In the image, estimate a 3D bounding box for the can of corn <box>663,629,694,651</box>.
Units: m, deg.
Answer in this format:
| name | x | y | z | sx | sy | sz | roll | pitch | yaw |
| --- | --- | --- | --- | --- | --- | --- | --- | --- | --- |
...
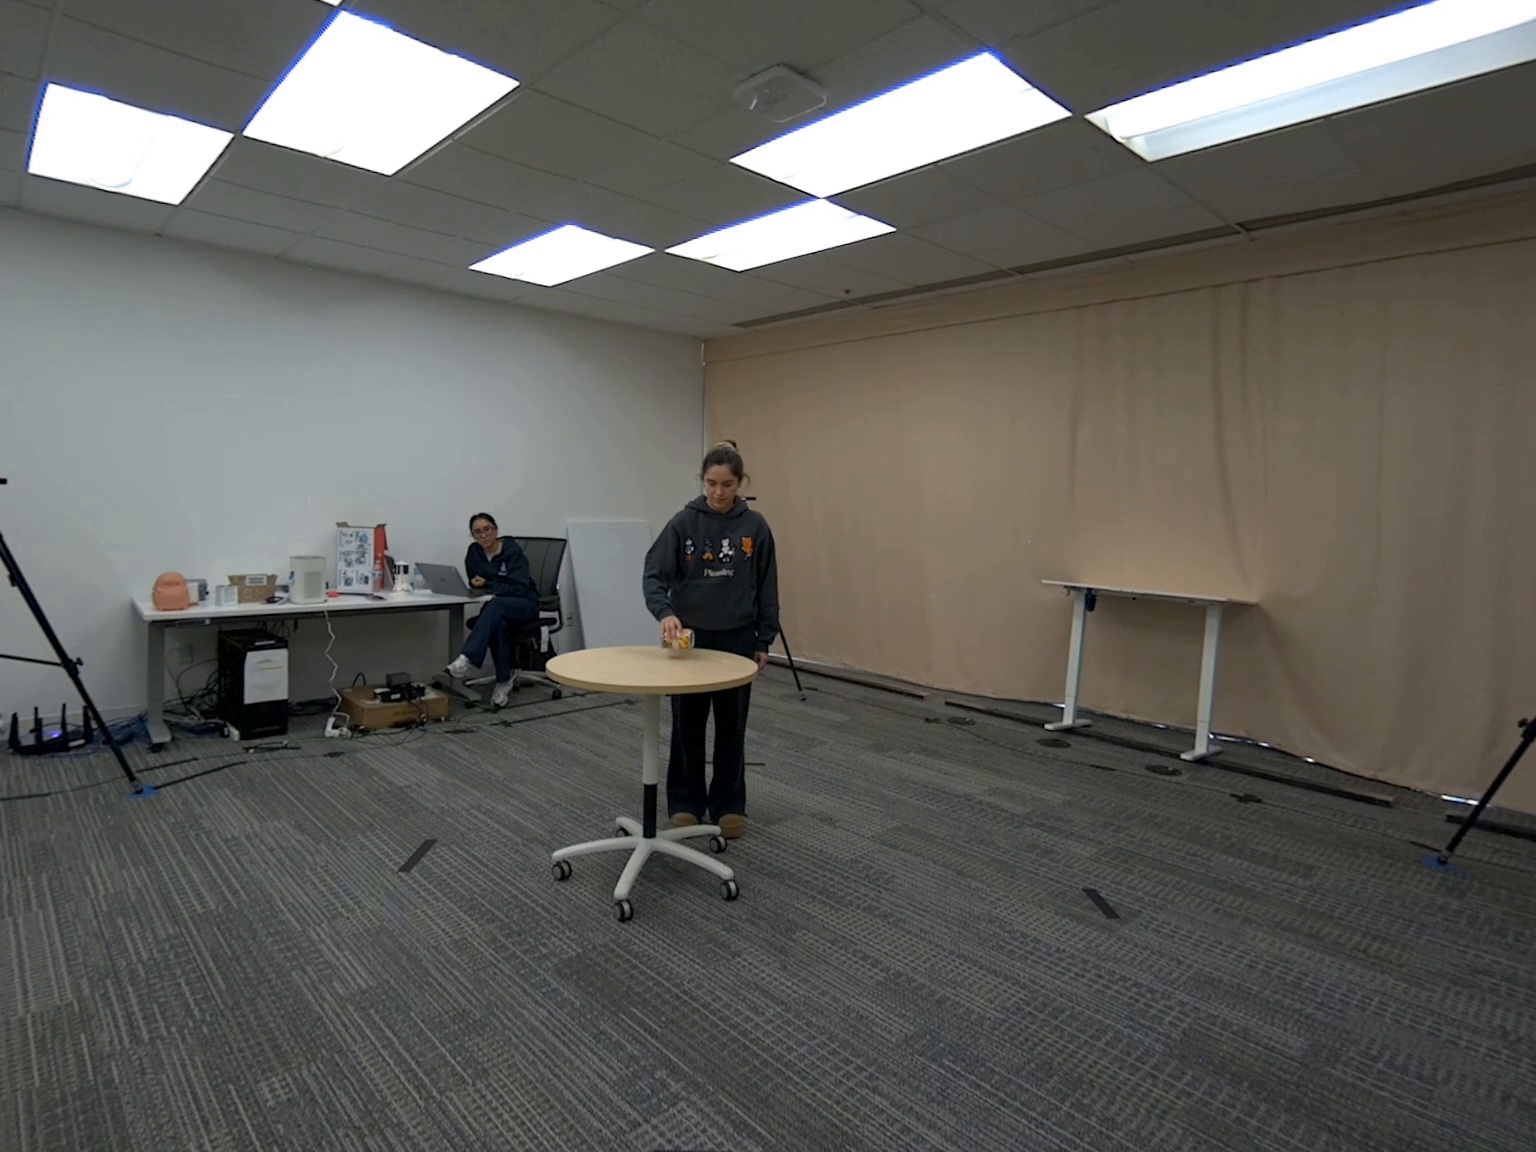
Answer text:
| name | x | y | z | sx | sy | sz | roll | pitch | yaw |
| --- | --- | --- | --- | --- | --- | --- | --- | --- | --- |
| can of corn | -0.359 | 0.241 | 3.199 | 0.112 | 0.074 | 0.074 | 4 | 5 | 8 |
